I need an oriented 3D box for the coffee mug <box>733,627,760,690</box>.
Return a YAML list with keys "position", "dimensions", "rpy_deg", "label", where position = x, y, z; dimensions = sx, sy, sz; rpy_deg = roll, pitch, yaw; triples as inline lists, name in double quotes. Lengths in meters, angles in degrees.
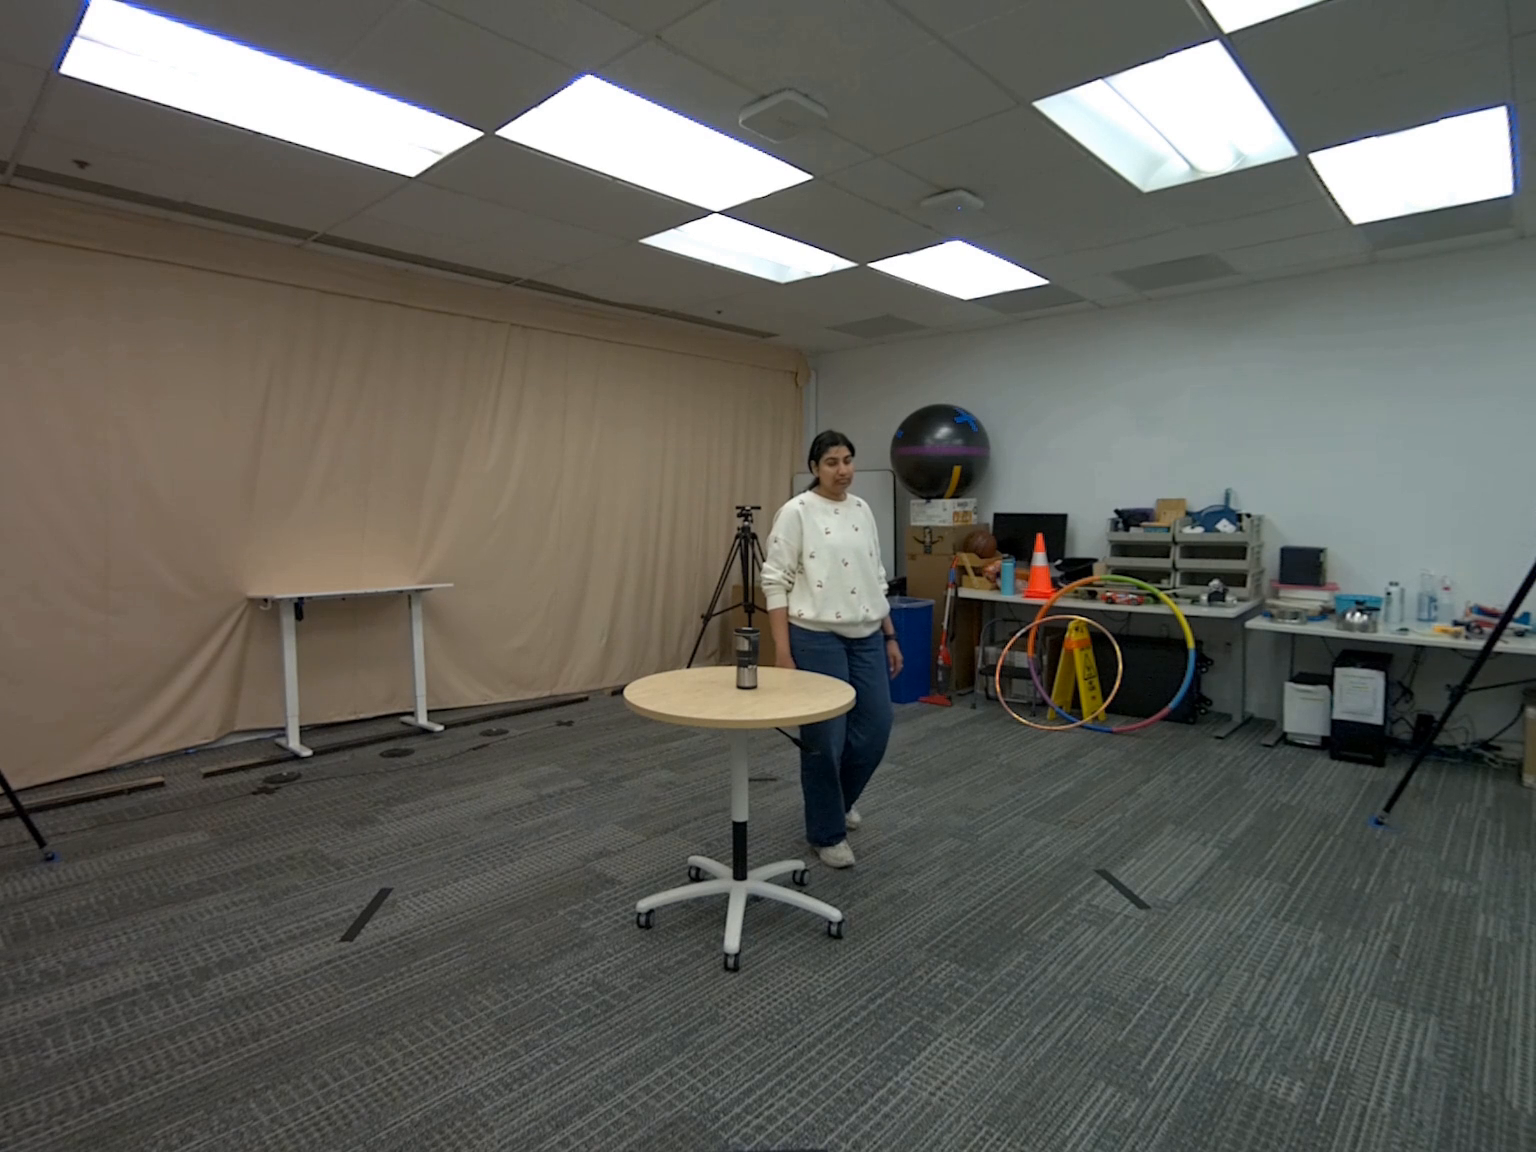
- position: [-0.081, 0.279, 2.800]
  dimensions: [0.090, 0.203, 0.118]
  rpy_deg: [5, 3, 33]
  label: "coffee mug"
